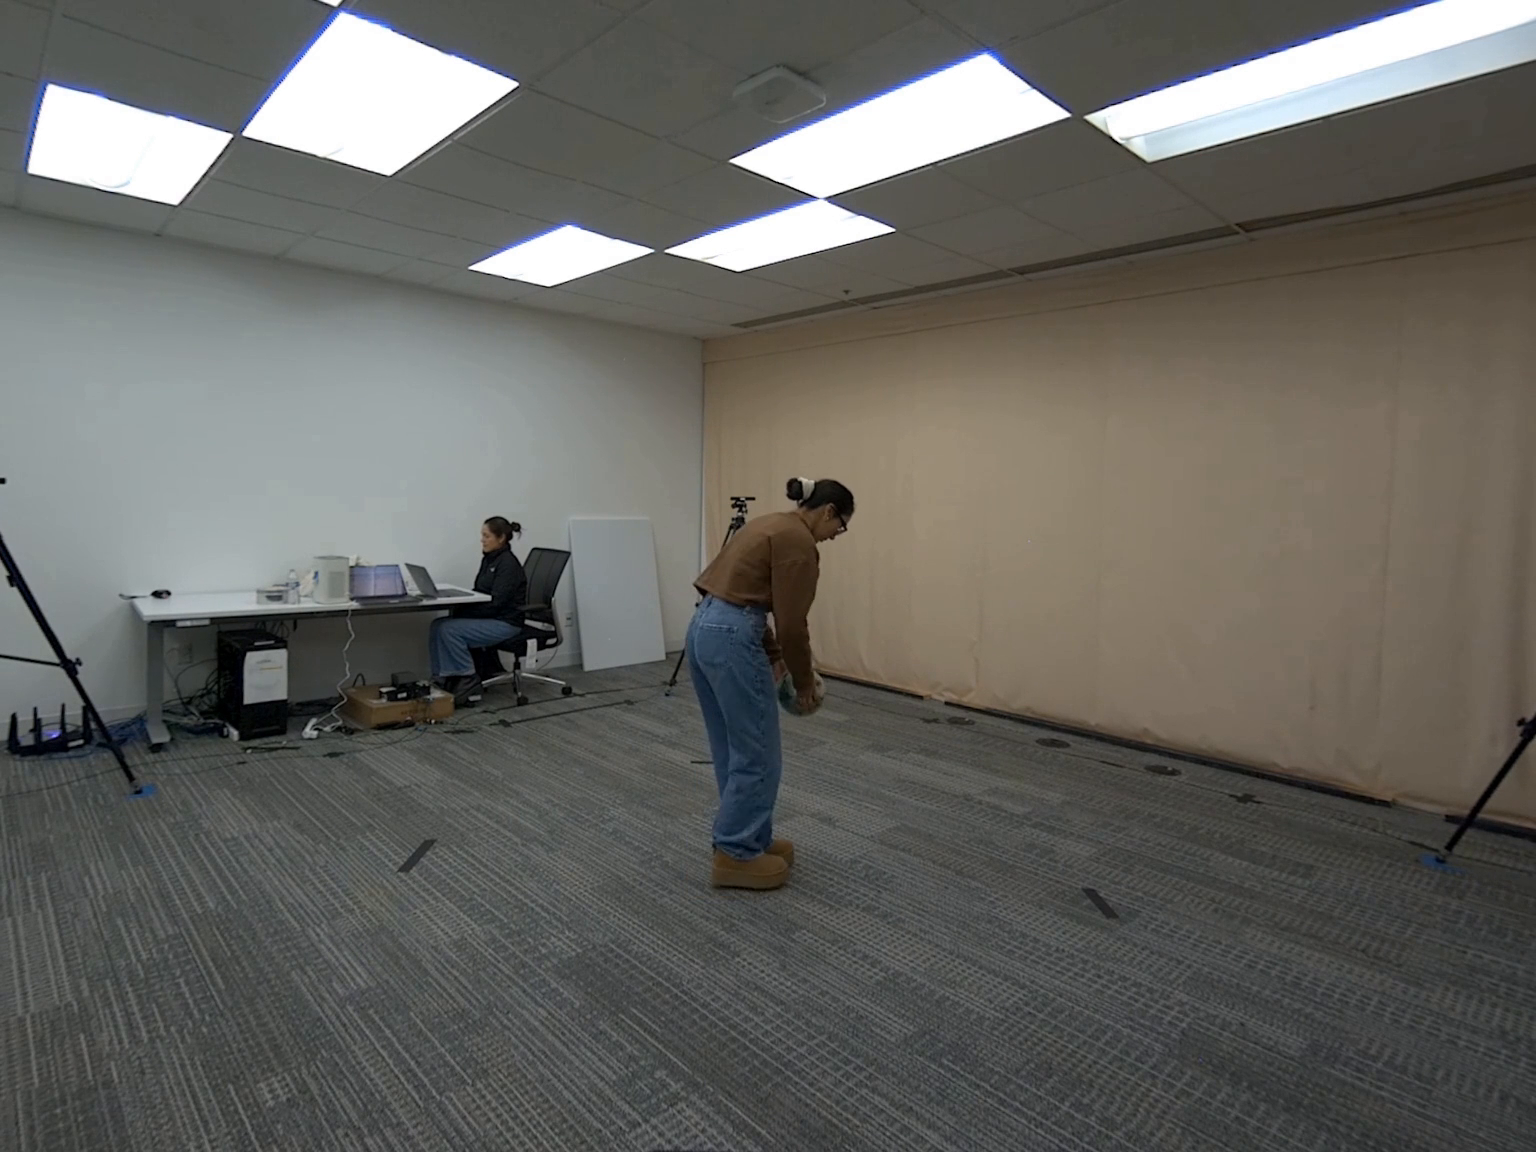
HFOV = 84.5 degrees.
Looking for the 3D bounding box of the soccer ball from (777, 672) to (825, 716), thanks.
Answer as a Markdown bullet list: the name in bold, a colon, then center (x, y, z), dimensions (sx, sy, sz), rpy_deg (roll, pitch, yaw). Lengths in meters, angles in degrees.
- **soccer ball**: center (0.114, 0.444, 3.185), dimensions (0.187, 0.187, 0.188), rpy_deg (1, 4, -1)
